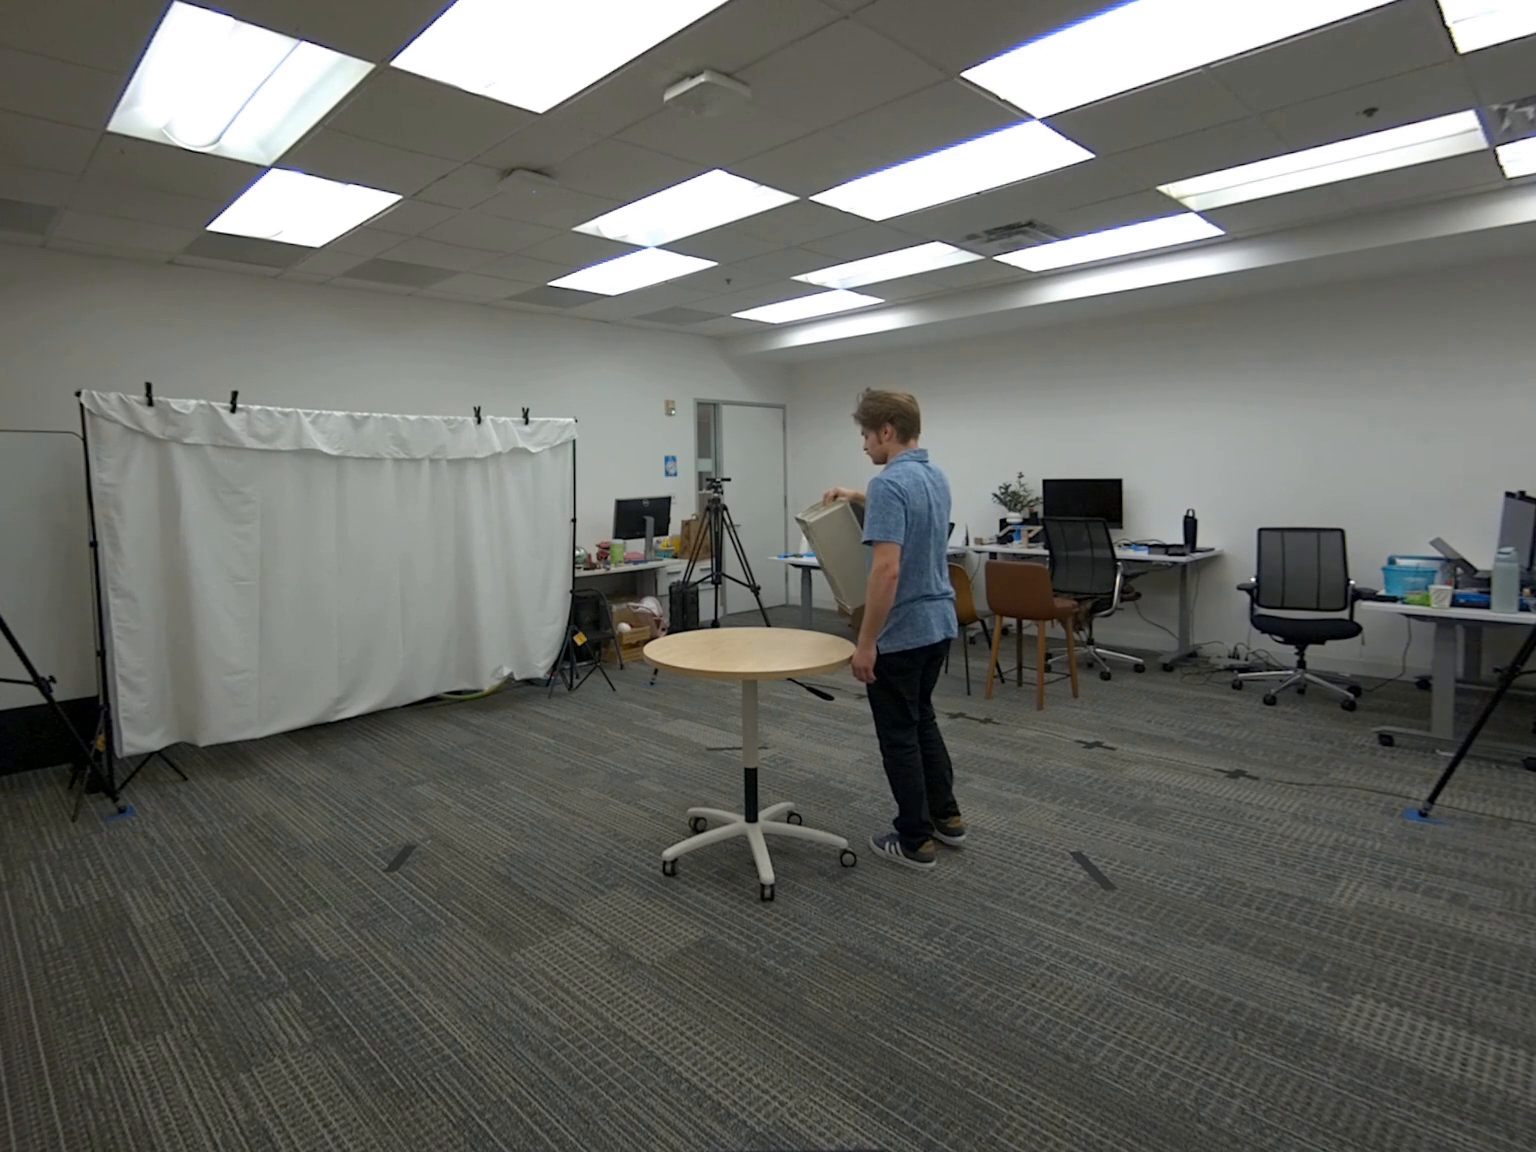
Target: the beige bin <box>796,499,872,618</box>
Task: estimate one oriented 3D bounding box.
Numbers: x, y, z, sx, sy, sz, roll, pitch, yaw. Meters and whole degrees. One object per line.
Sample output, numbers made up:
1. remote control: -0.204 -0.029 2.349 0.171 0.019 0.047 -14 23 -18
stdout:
1. beige bin: 0.307 -0.092 3.469 0.189 0.420 0.381 -23 6 -3
